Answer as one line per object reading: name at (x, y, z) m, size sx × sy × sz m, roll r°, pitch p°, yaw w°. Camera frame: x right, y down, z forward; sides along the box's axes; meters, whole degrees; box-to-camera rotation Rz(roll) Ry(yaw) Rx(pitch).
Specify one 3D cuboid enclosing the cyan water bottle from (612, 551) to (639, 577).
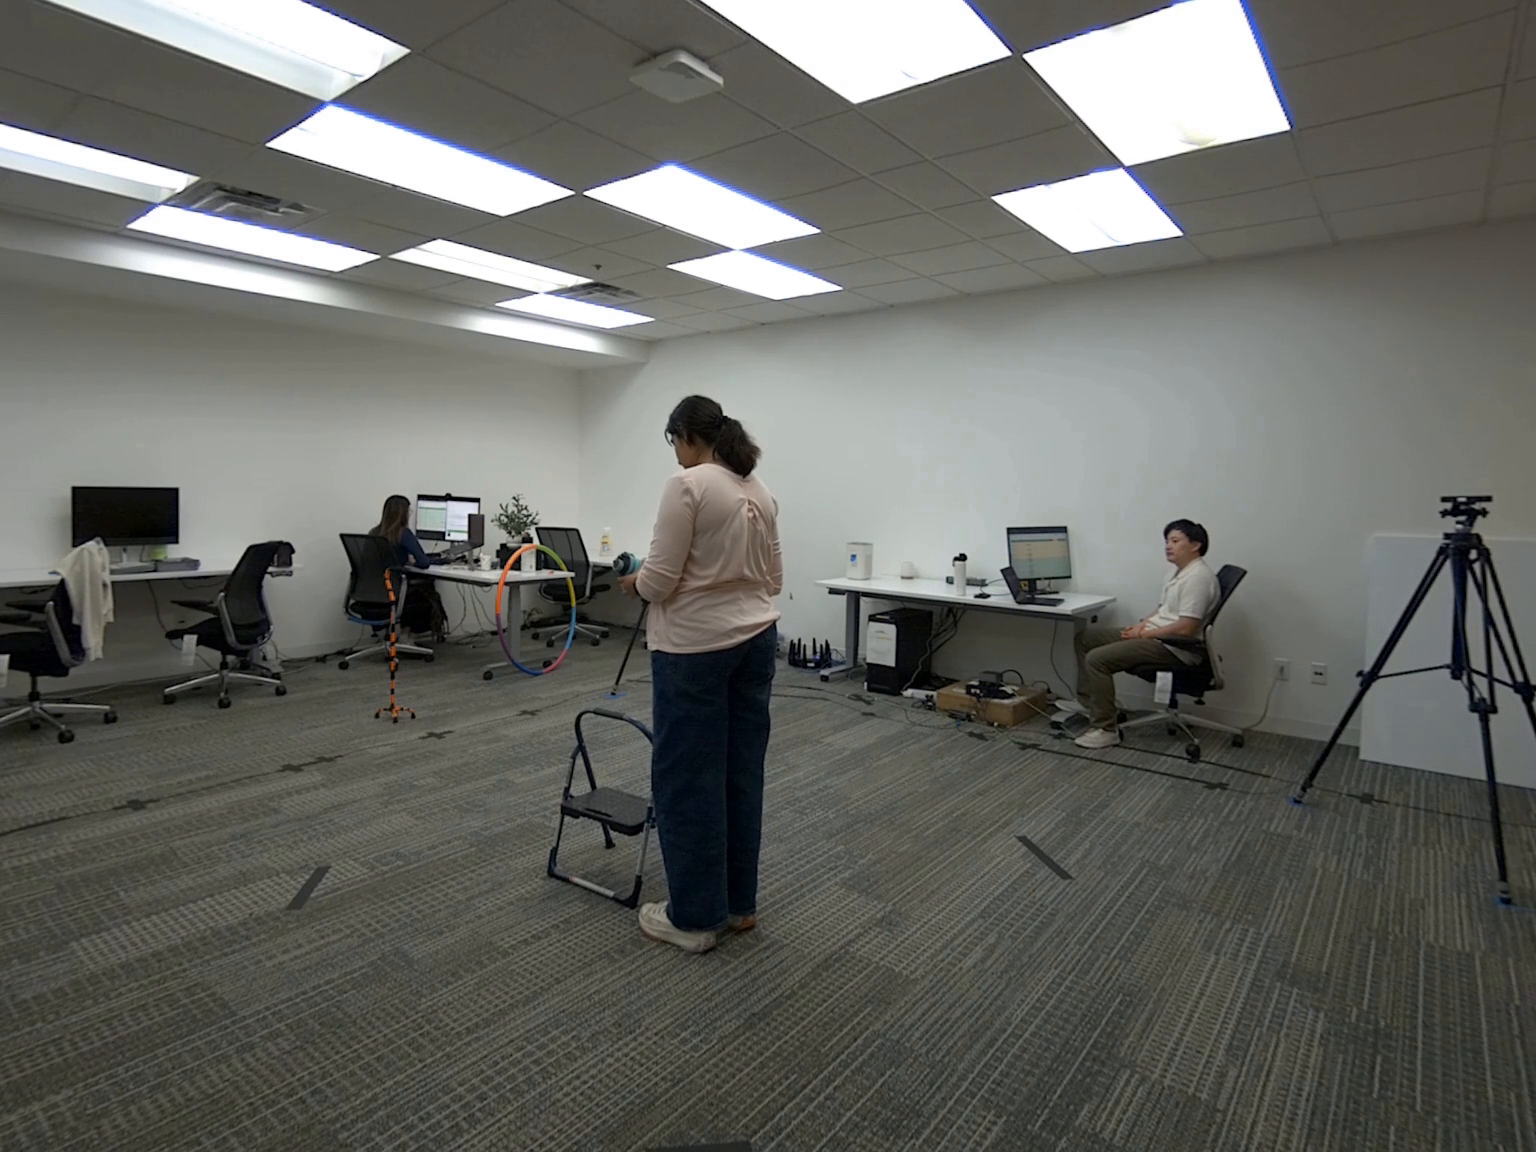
cyan water bottle at (-0.426, 0.006, 2.890) m, size 0.272 × 0.093 × 0.095 m, roll 31°, pitch -16°, yaw -36°
